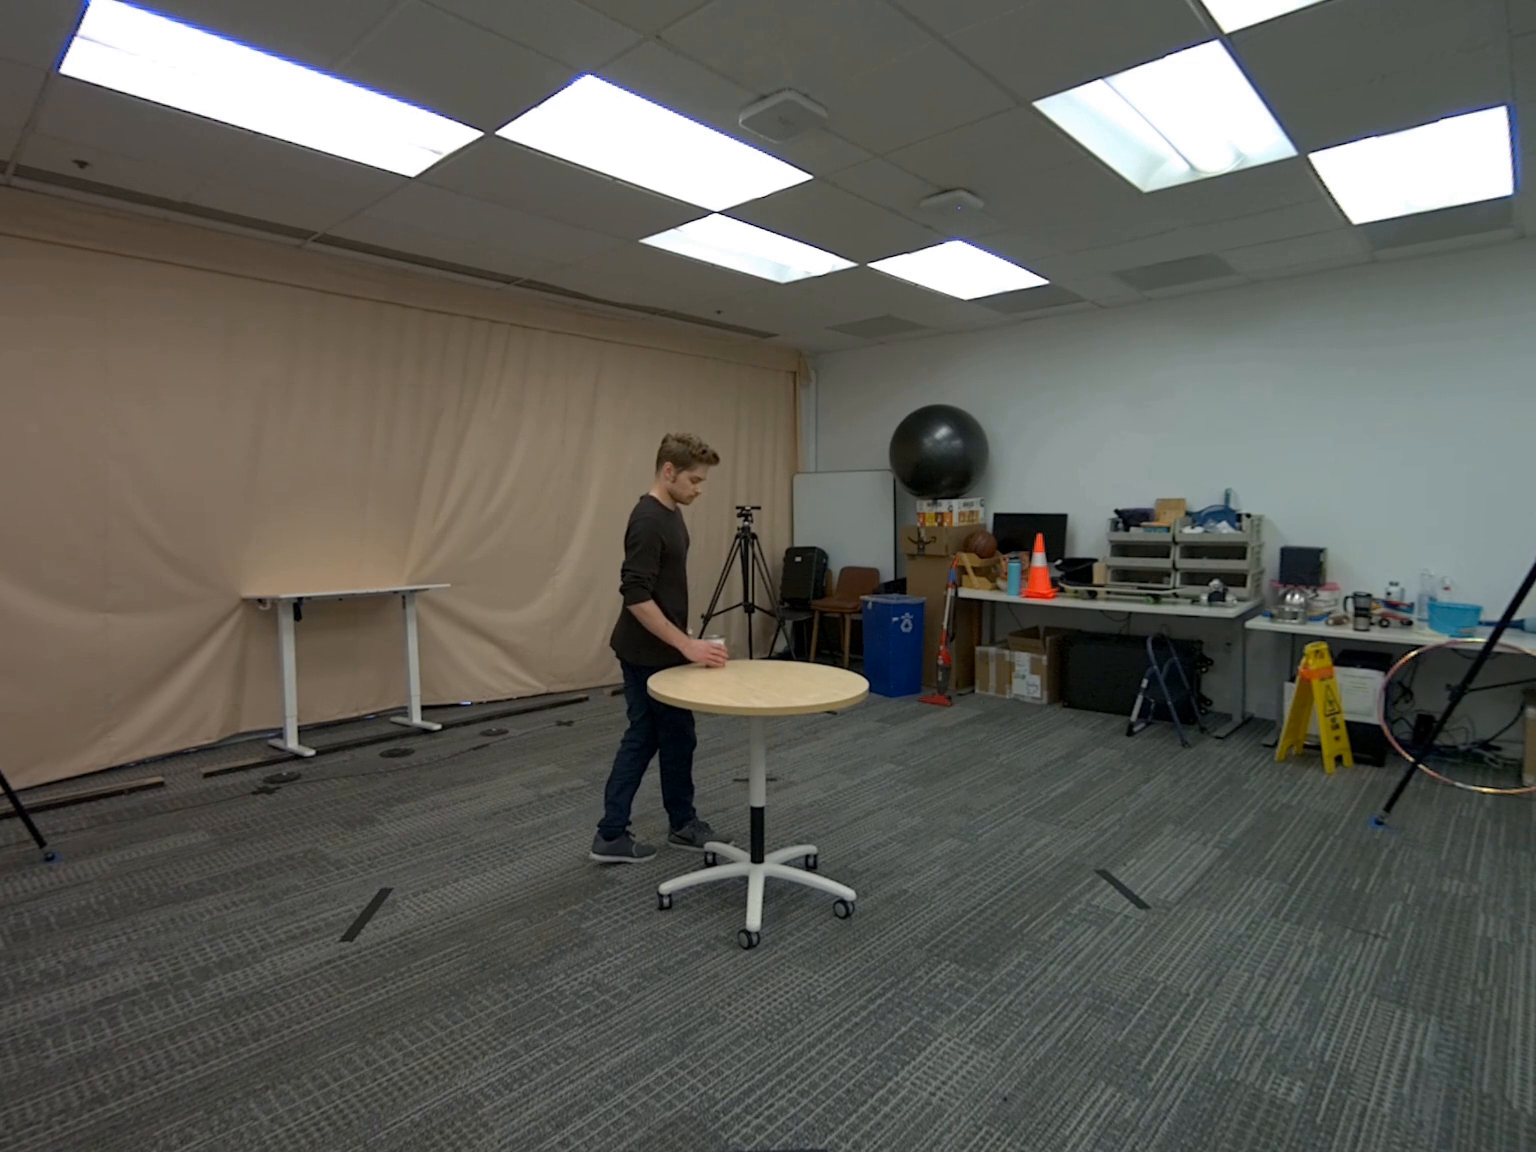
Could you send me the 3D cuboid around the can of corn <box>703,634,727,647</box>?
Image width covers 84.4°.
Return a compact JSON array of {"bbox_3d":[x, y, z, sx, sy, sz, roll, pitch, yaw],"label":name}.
[{"bbox_3d":[-0.194,0.287,3.176,0.074,0.111,0.074,-4,5,-2],"label":"can of corn"}]
